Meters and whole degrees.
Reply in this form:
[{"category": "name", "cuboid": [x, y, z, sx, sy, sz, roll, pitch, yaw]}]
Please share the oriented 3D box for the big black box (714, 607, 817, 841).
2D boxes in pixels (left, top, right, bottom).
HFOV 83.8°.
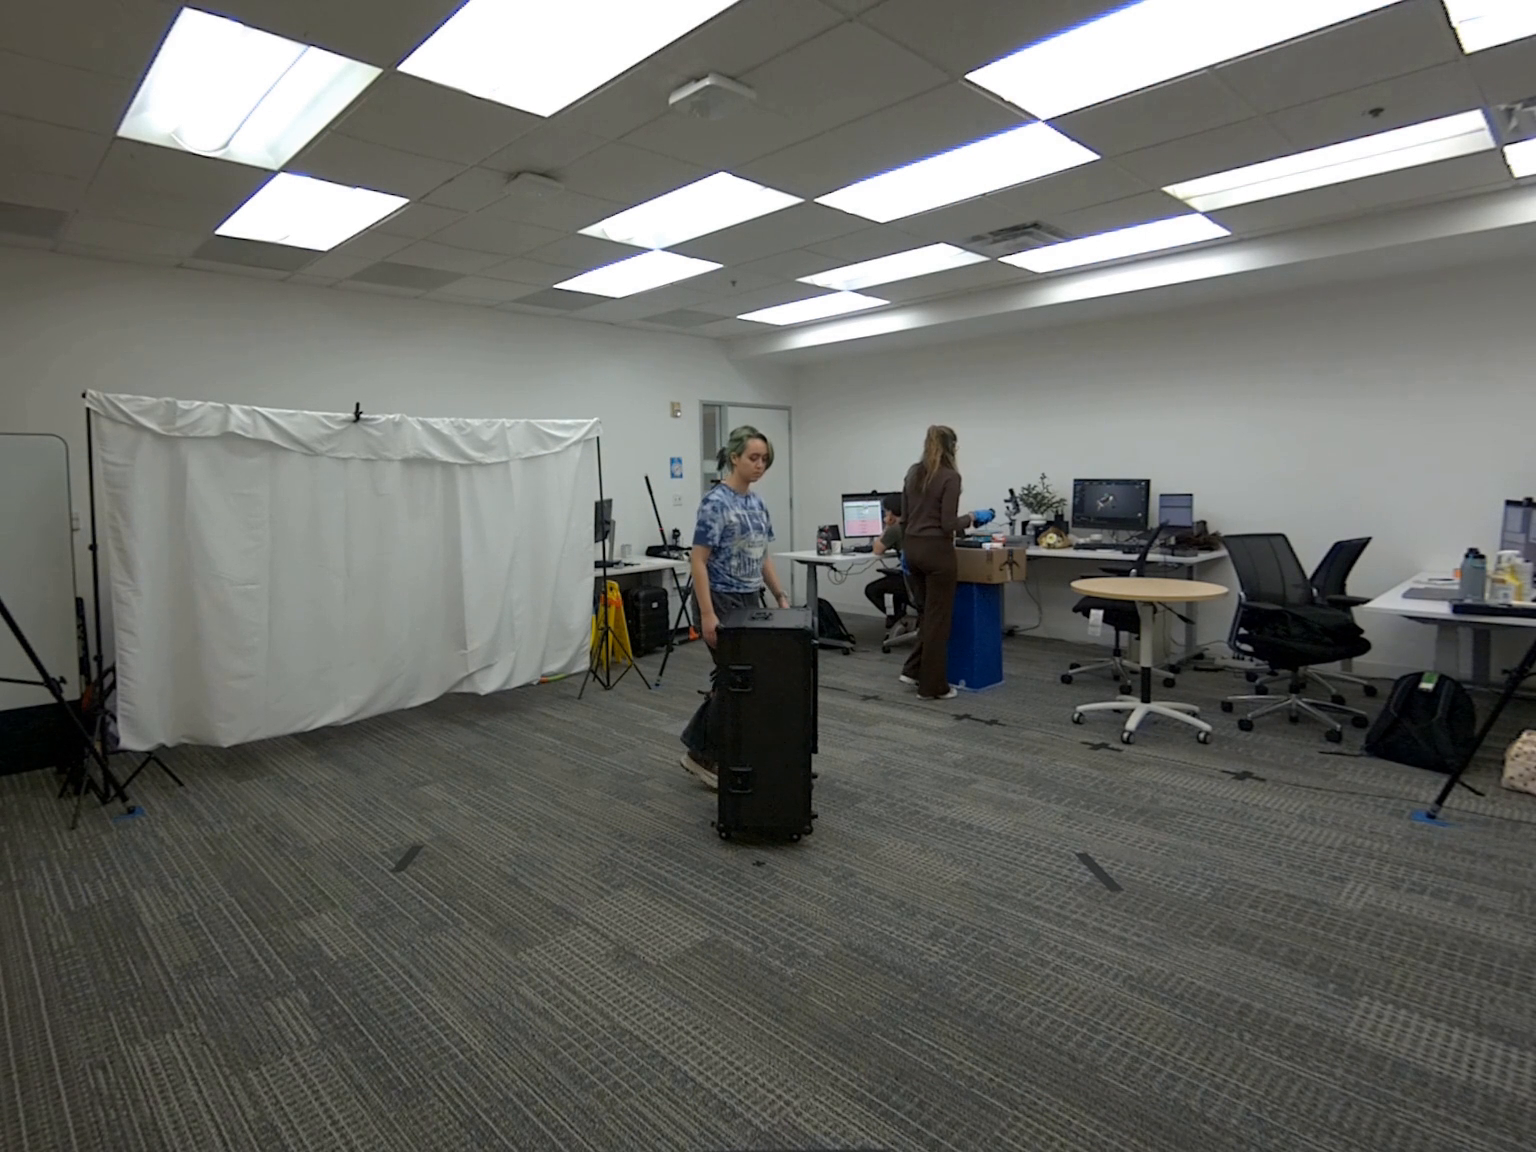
[{"category": "big black box", "cuboid": [0.012, 0.591, 3.423, 0.399, 0.858, 0.520, 2, 5, 5]}]
